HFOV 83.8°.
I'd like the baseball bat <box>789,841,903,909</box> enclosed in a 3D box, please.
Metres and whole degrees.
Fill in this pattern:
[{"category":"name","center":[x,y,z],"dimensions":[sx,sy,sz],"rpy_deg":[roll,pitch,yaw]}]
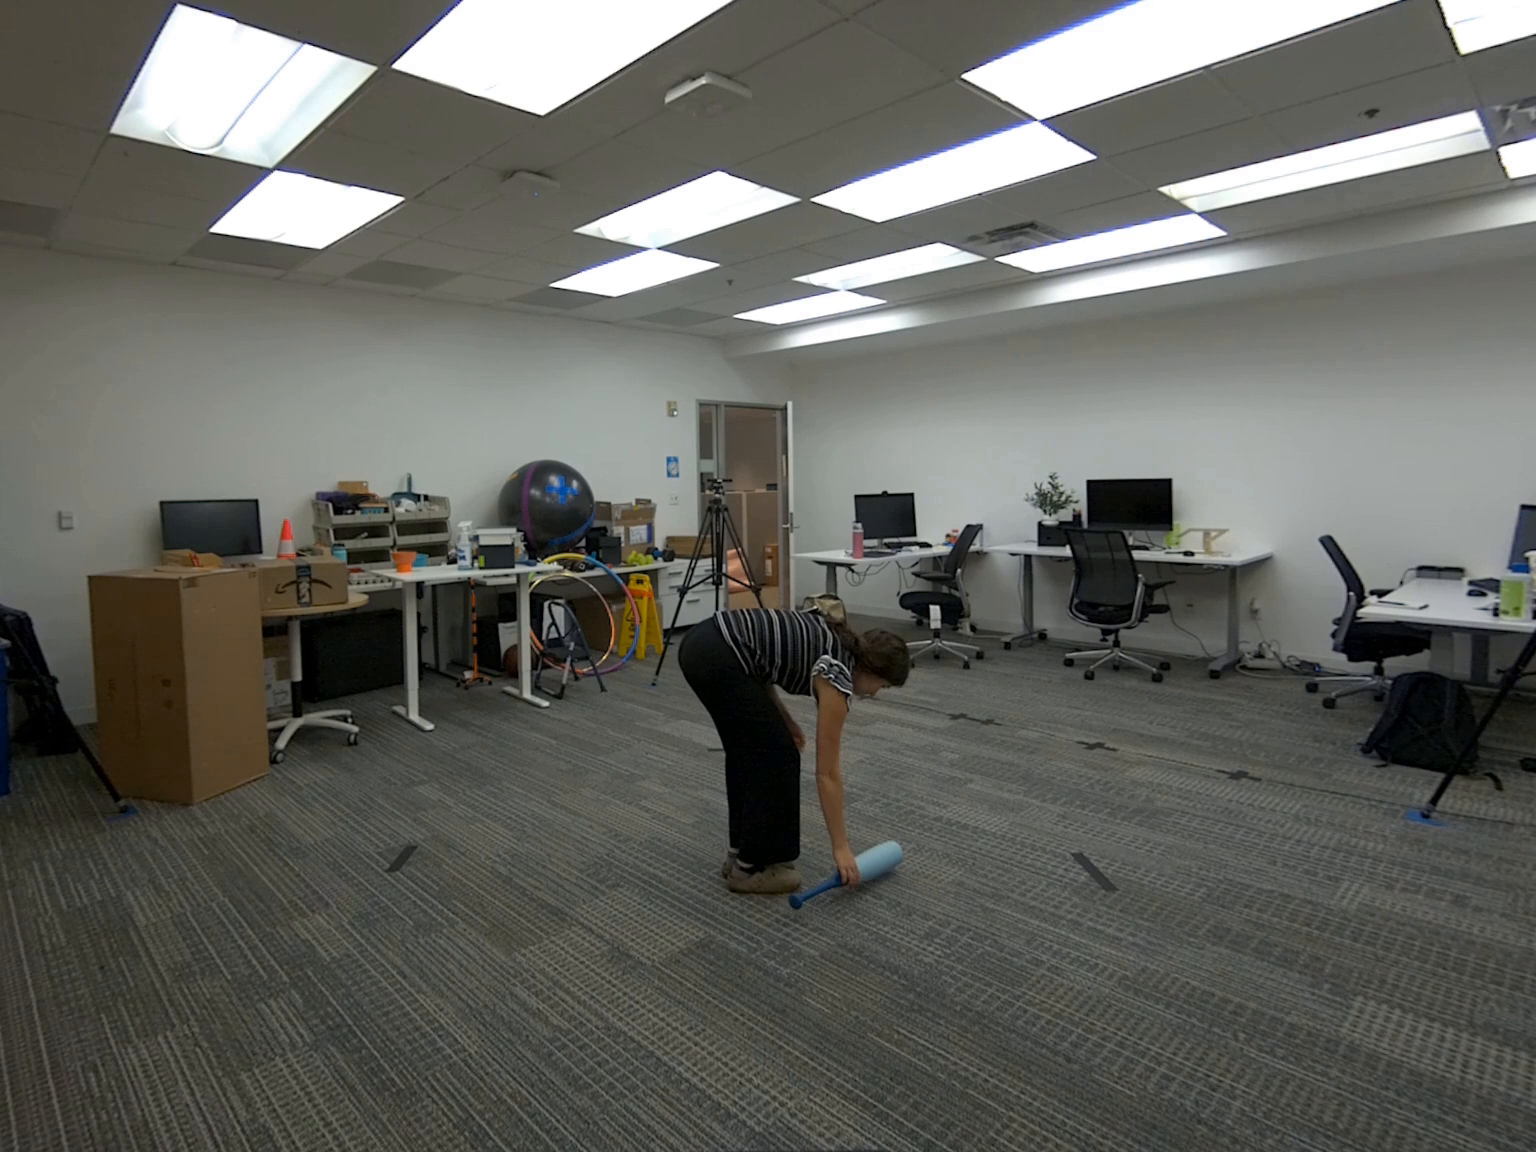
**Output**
[{"category":"baseball bat","center":[0.262,0.996,2.853],"dimensions":[0.528,0.089,0.092],"rpy_deg":[-6,7,-44]}]
